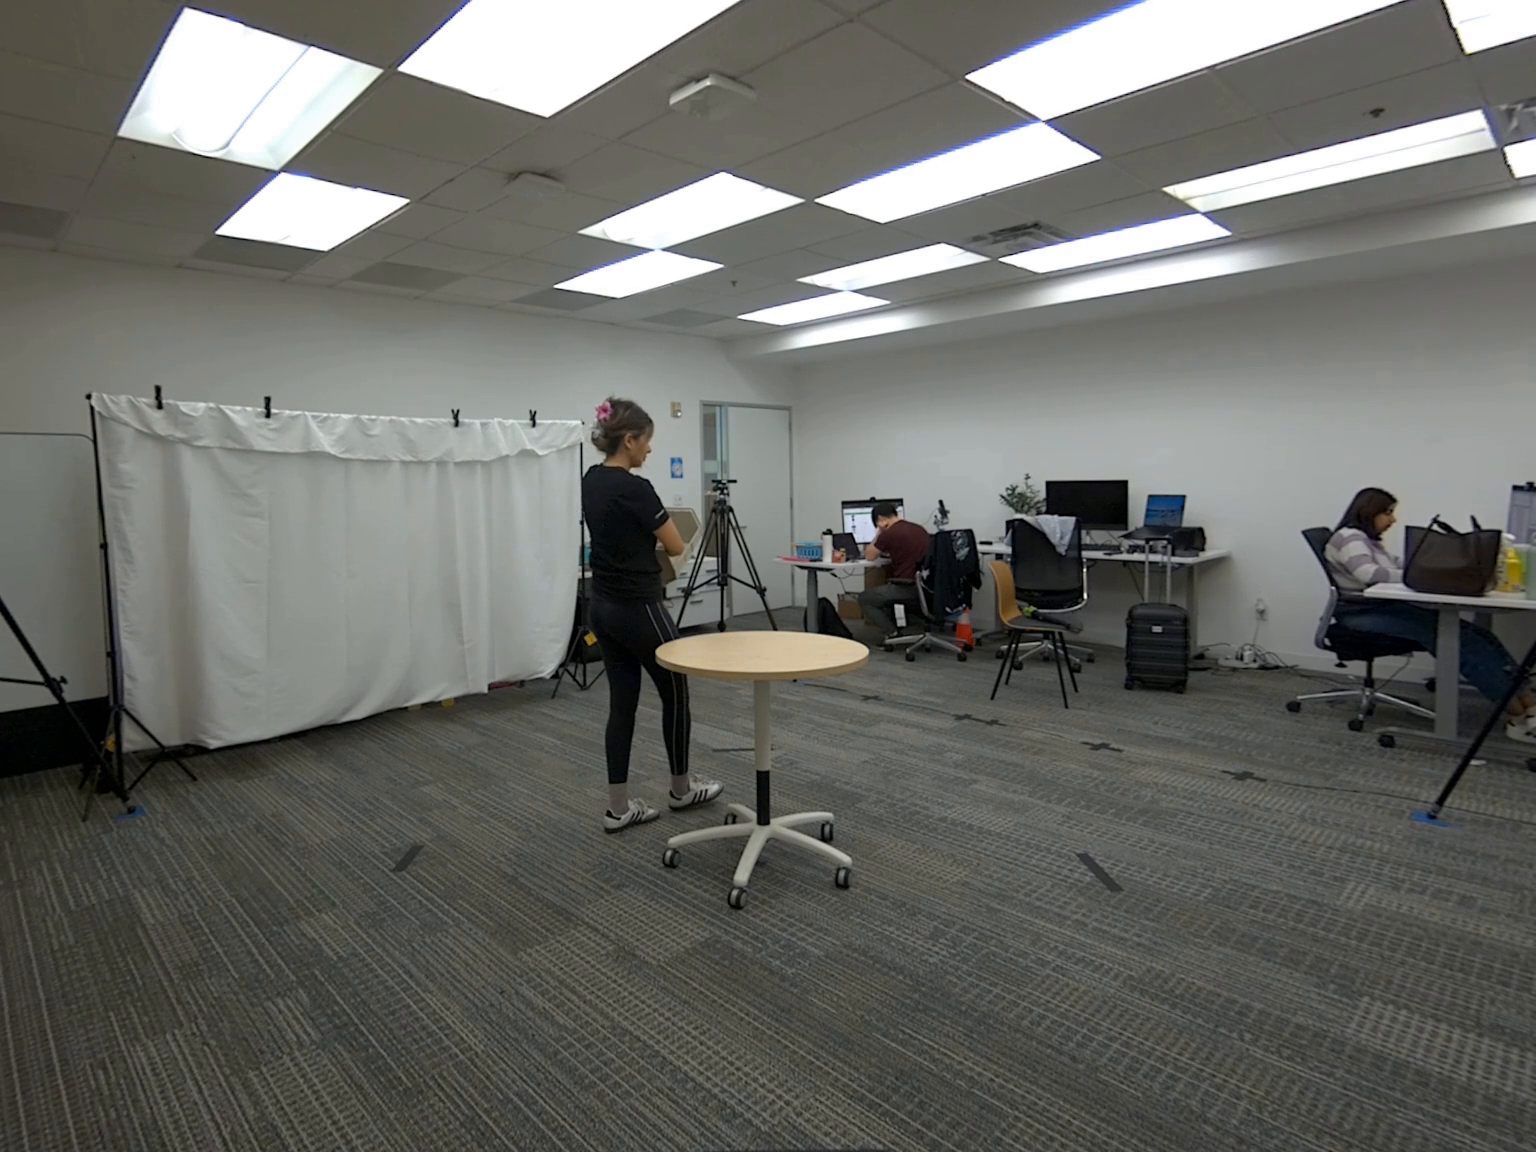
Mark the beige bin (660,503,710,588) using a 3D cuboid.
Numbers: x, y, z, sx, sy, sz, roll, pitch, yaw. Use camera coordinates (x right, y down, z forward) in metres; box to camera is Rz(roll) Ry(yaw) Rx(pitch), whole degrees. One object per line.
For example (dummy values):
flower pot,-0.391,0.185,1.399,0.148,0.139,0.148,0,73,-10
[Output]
beige bin,-0.503,-0.139,3.723,0.383,0.184,0.427,-1,28,14
